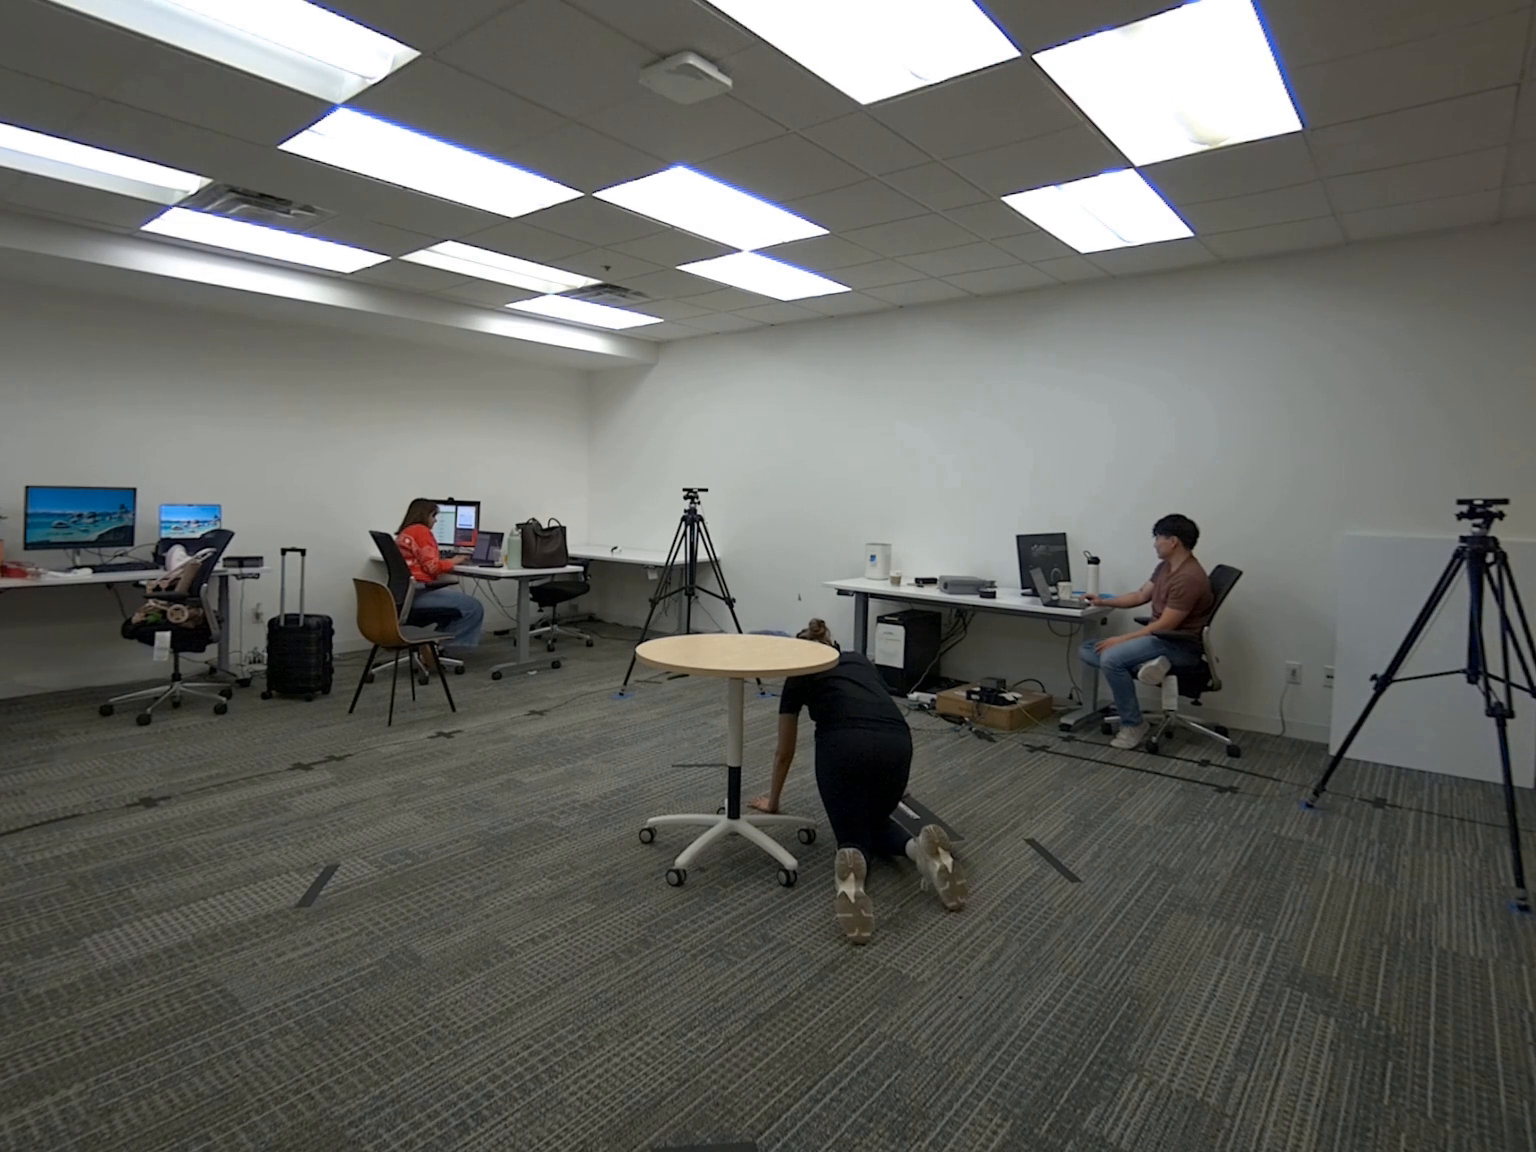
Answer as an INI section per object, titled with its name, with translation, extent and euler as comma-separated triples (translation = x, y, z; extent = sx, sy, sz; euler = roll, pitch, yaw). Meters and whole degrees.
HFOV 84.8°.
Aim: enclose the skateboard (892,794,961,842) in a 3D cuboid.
[skateboard]
translation = 0.549, 0.982, 3.506
extent = 0.191, 0.110, 0.799
euler = 1, 6, -14
